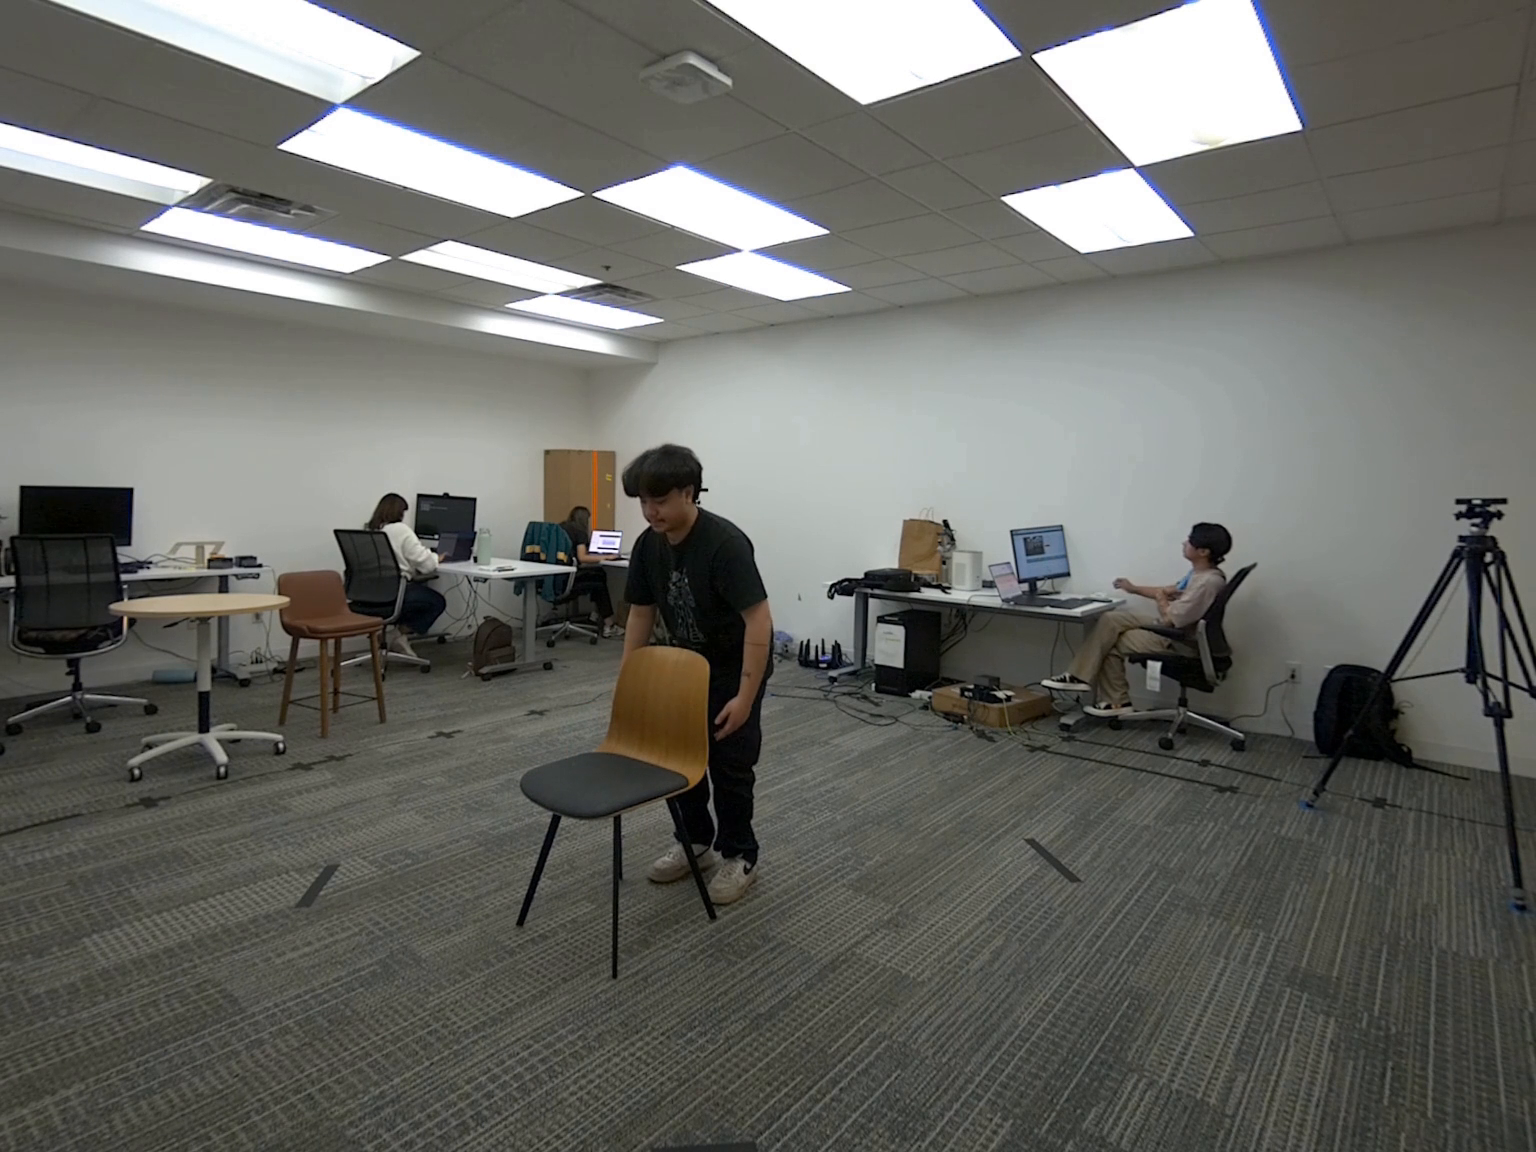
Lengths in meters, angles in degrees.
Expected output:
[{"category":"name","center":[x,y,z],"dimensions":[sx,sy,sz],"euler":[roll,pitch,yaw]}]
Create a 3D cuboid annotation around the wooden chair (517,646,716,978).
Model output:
[{"category":"wooden chair","center":[-0.483,0.678,2.682],"dimensions":[0.494,0.878,0.506],"euler":[4,0,37]}]
